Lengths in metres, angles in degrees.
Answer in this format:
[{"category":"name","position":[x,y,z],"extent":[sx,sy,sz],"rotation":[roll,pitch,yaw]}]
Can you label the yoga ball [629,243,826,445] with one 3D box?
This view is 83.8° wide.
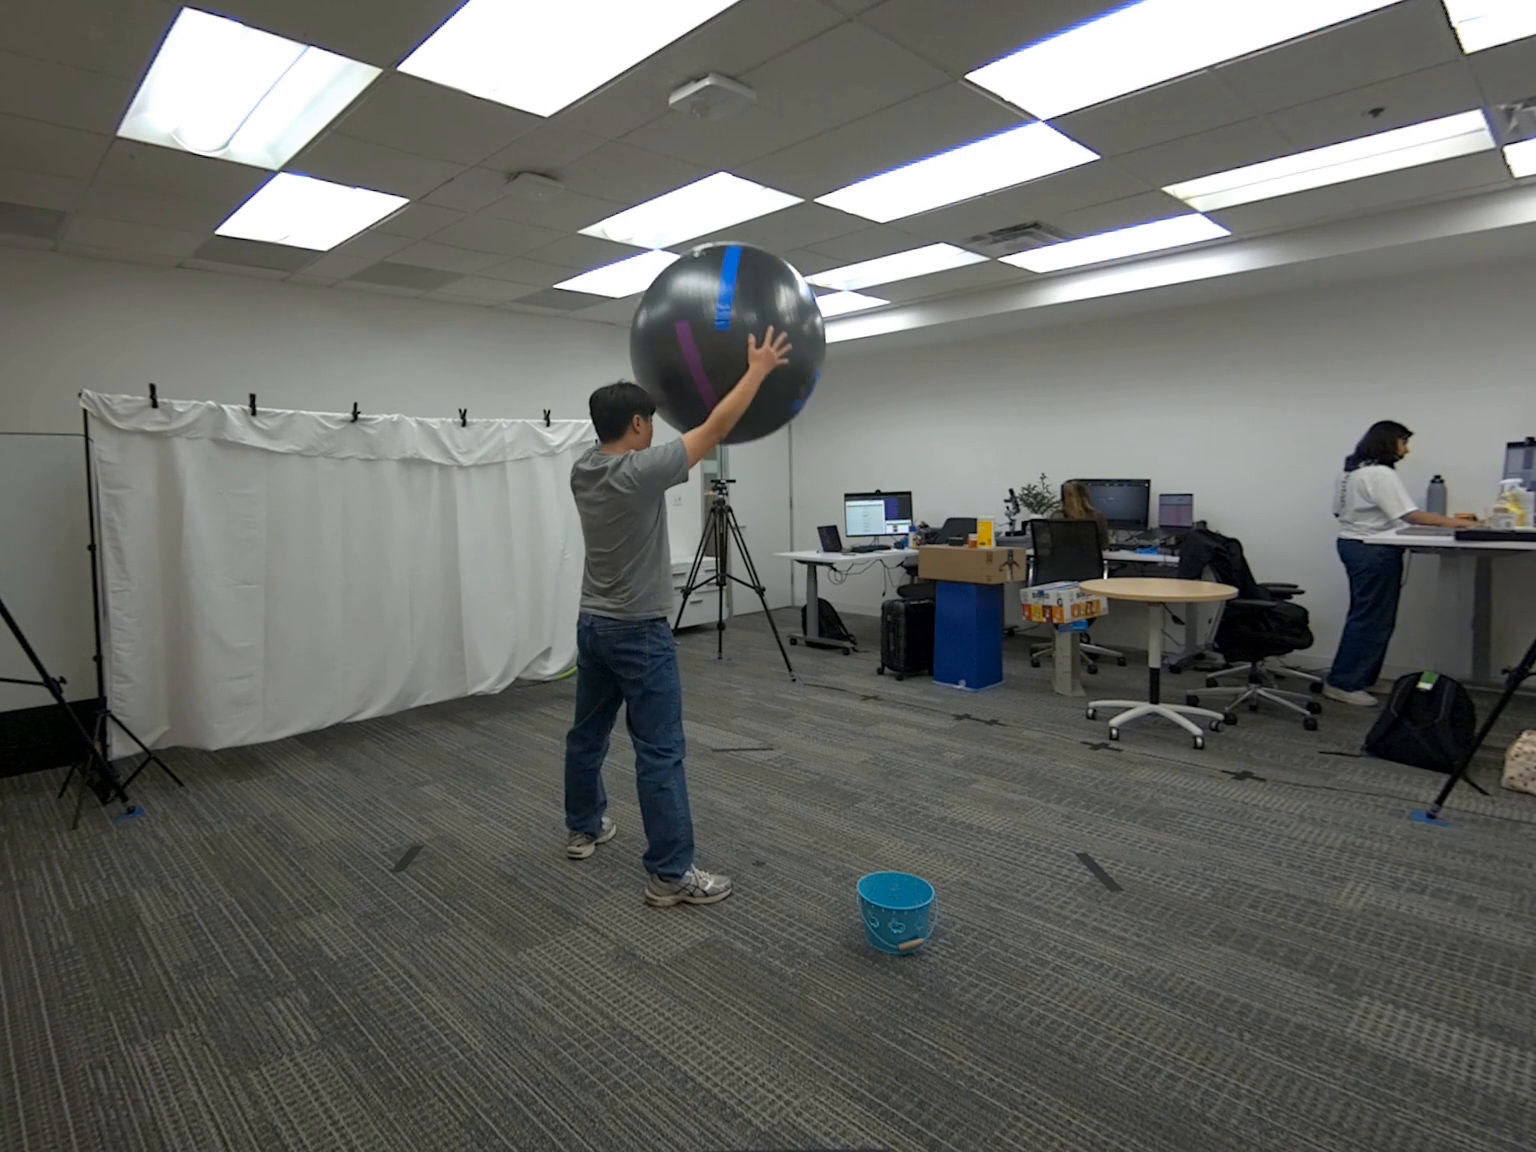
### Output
[{"category":"yoga ball","position":[-0.158,-0.850,3.306],"extent":[0.757,0.755,0.762],"rotation":[-1,5,-2]}]
